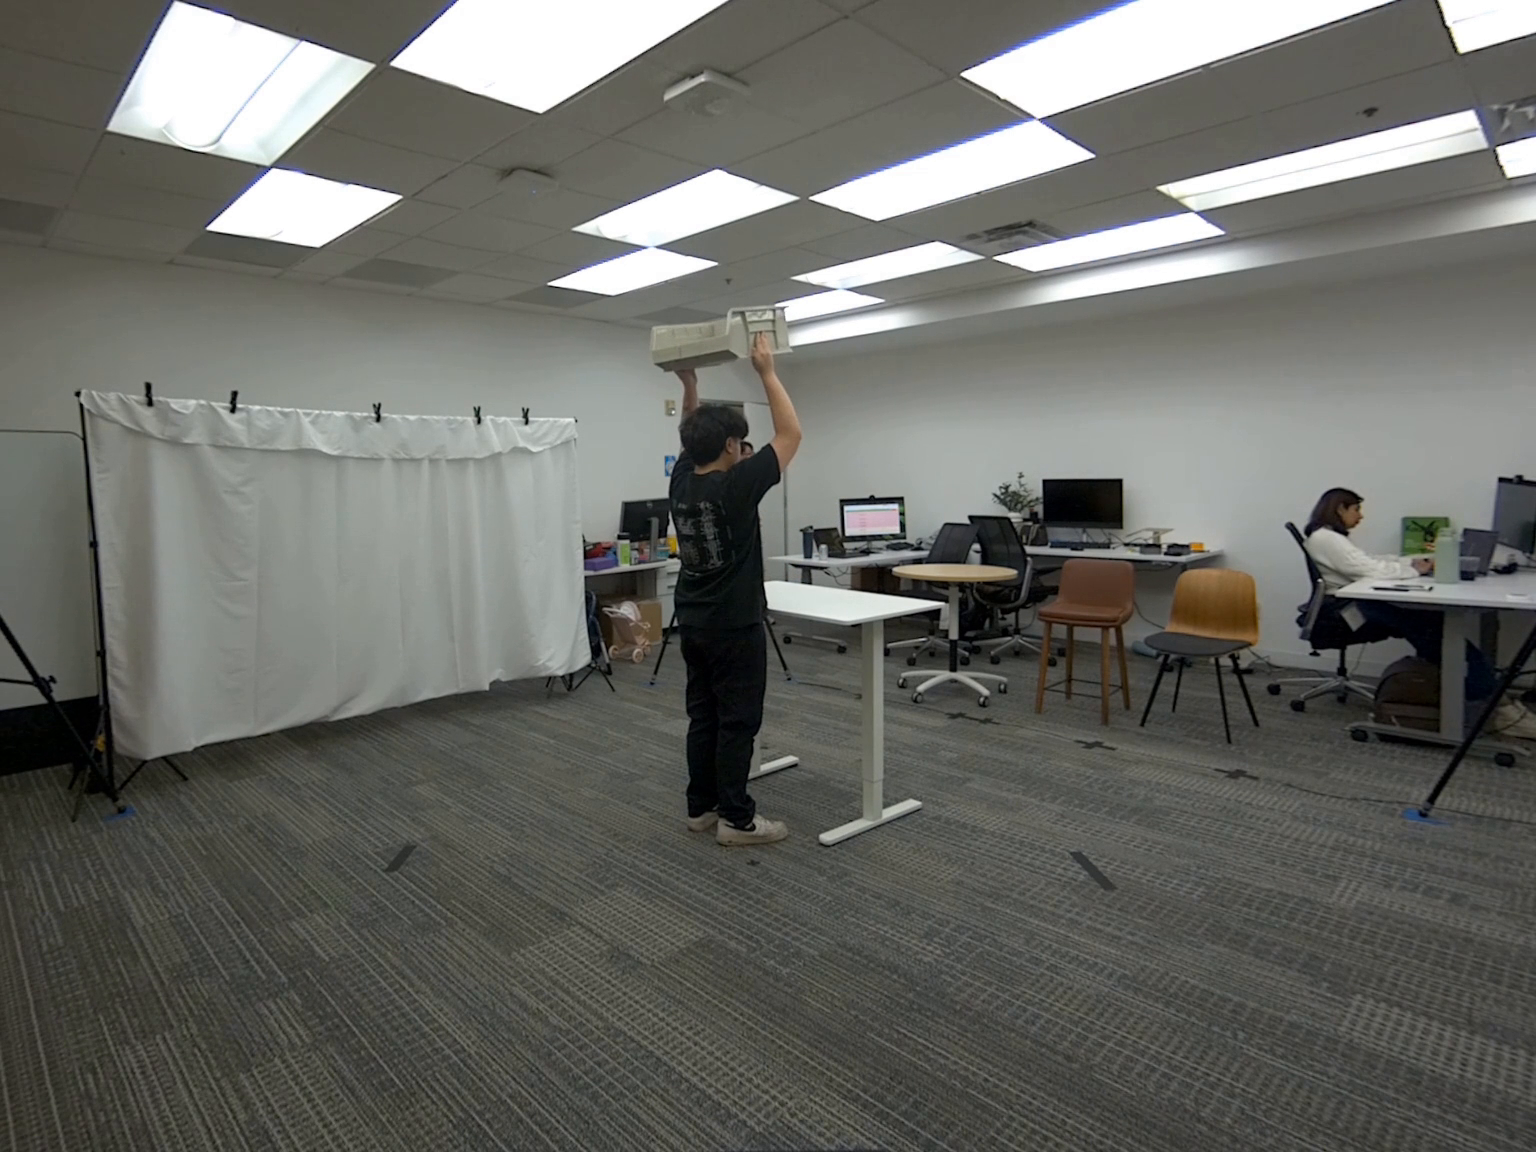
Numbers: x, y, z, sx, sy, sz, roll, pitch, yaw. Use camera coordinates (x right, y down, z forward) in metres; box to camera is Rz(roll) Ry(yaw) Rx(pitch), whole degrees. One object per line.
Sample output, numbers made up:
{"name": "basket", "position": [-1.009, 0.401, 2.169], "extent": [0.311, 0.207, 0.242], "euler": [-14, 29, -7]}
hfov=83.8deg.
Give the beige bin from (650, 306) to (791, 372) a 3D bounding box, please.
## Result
{"name": "beige bin", "position": [-0.181, -0.913, 3.312], "extent": [0.435, 0.187, 0.370], "euler": [2, 16, 42]}
